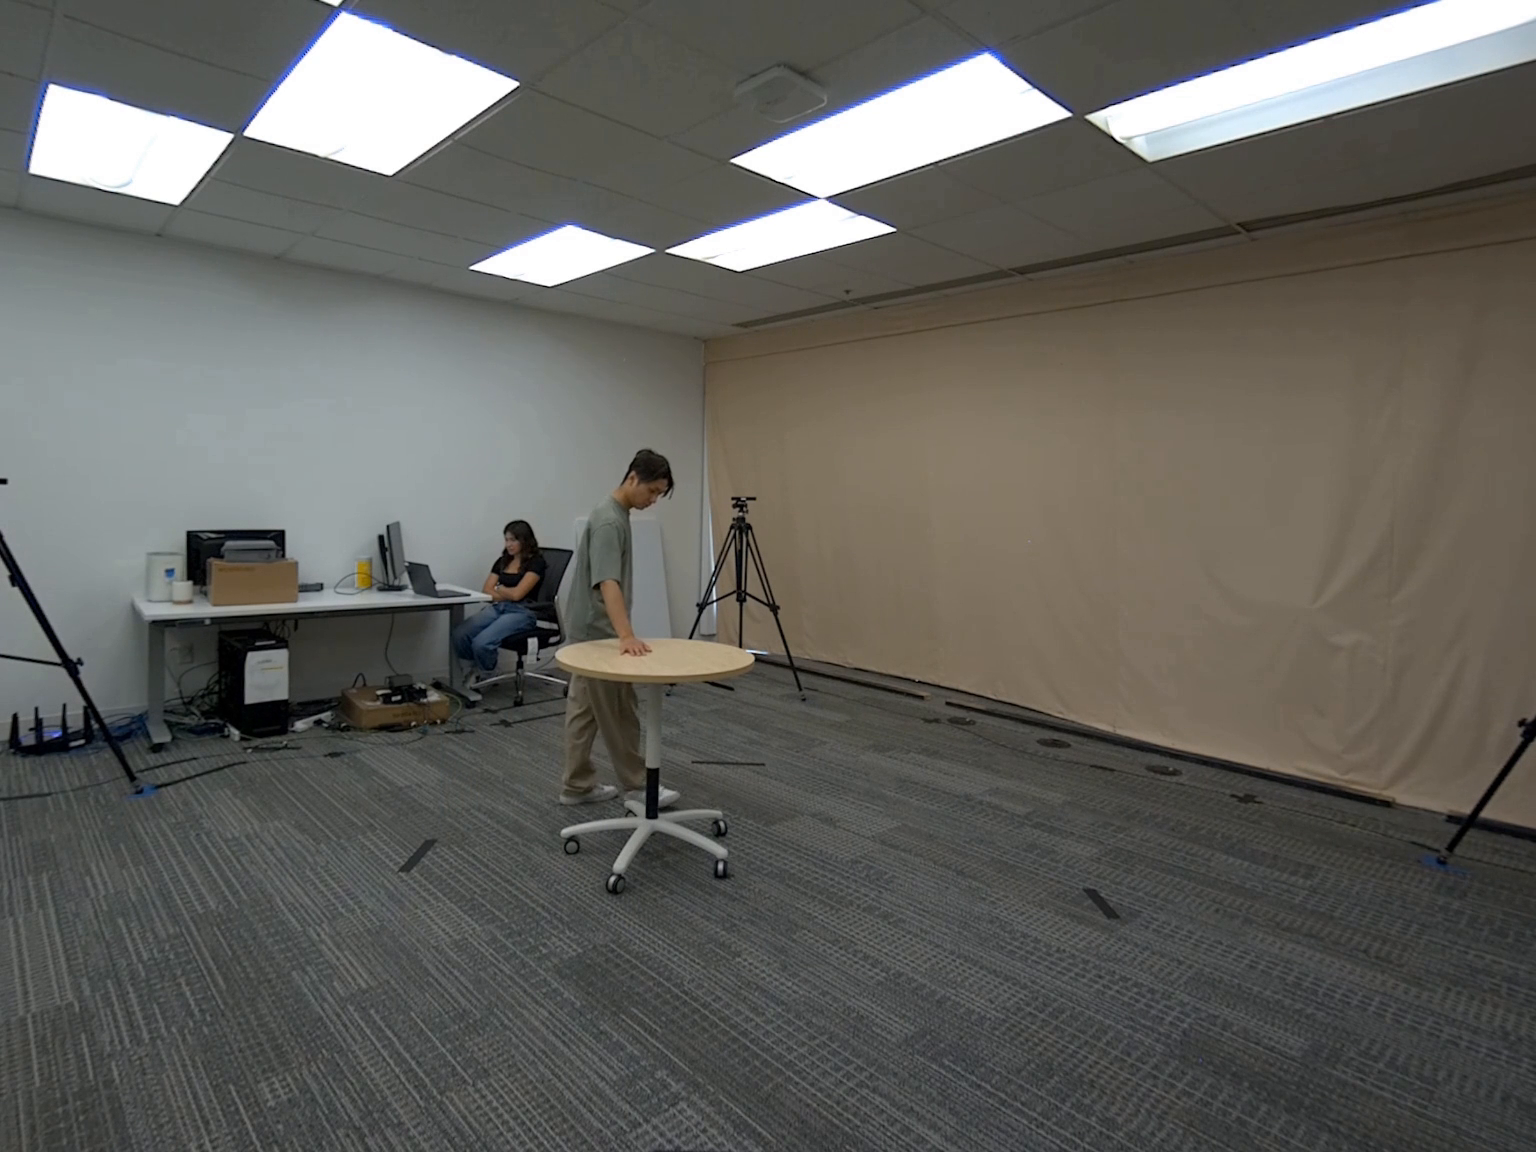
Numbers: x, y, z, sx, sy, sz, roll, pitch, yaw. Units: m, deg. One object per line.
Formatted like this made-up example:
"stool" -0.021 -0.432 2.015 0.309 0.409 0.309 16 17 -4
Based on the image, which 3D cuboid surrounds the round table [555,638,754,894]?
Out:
"round table" -0.456 0.699 3.272 0.763 0.792 0.766 2 4 -1
